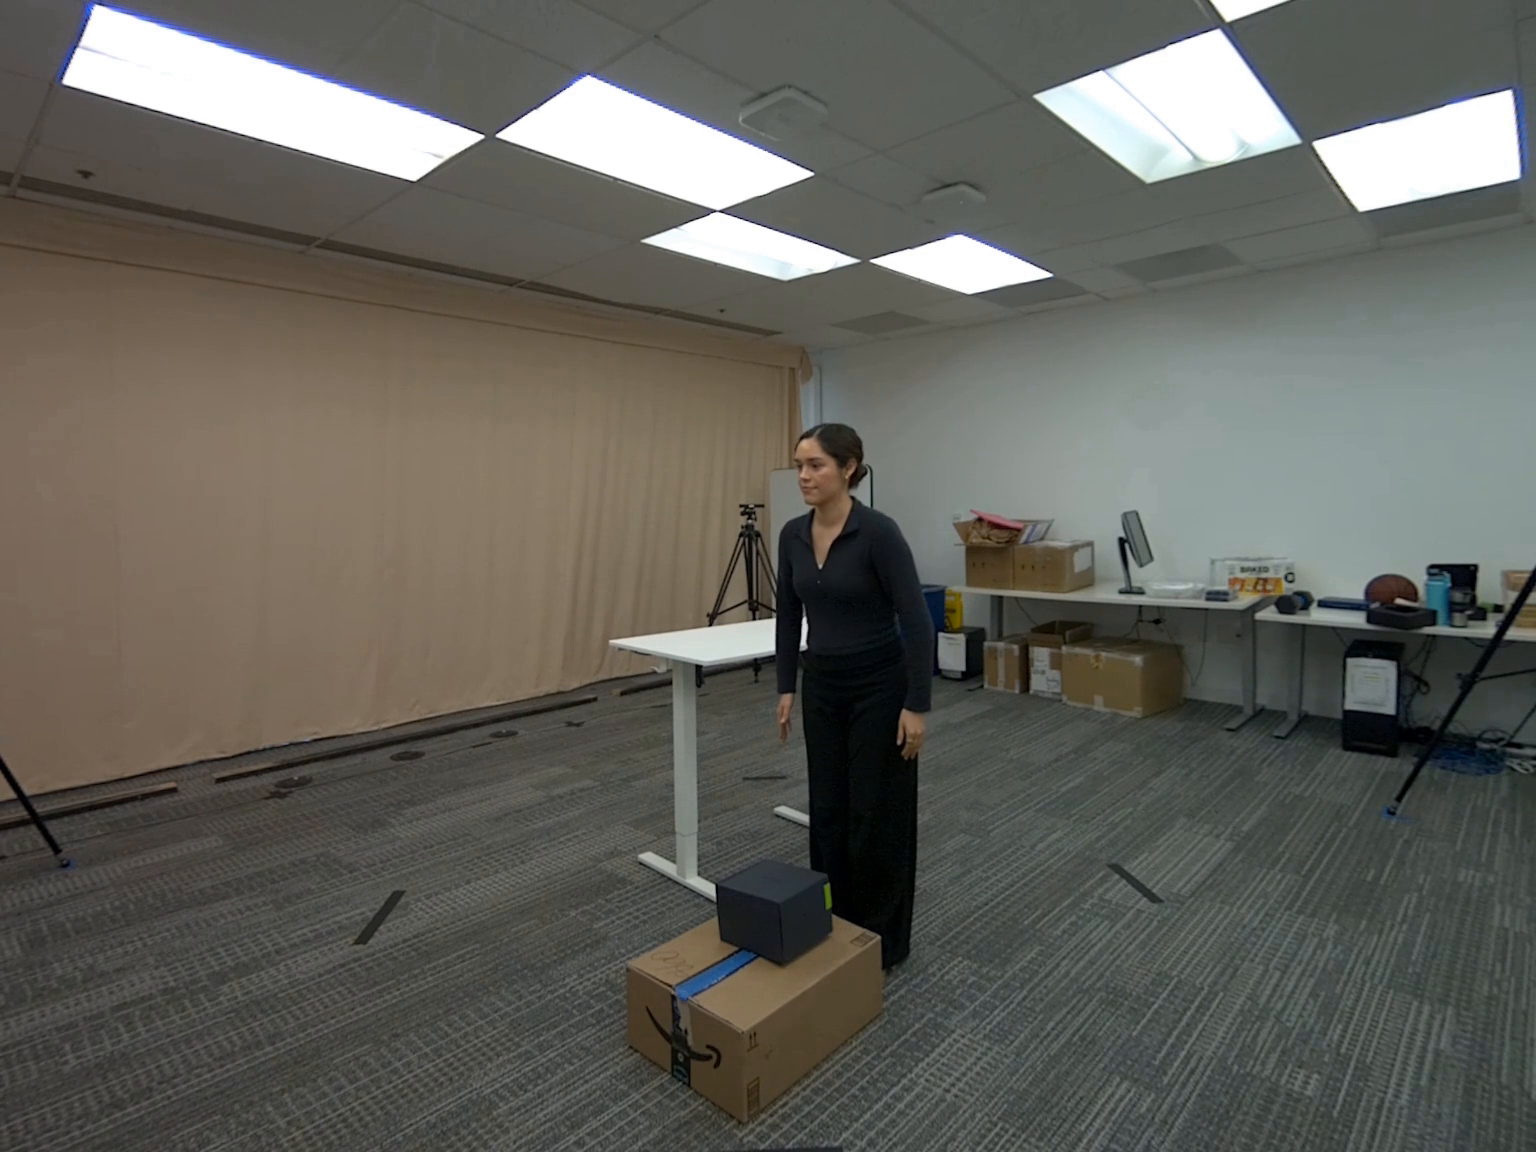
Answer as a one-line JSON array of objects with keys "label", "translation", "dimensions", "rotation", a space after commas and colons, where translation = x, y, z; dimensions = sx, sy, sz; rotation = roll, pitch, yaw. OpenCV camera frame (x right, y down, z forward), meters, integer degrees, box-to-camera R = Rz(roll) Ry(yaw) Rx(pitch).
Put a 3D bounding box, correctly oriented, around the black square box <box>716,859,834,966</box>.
[{"label": "black square box", "translation": [0.021, 0.892, 2.277], "dimensions": [0.235, 0.156, 0.210], "rotation": [-3, 2, 42]}]
